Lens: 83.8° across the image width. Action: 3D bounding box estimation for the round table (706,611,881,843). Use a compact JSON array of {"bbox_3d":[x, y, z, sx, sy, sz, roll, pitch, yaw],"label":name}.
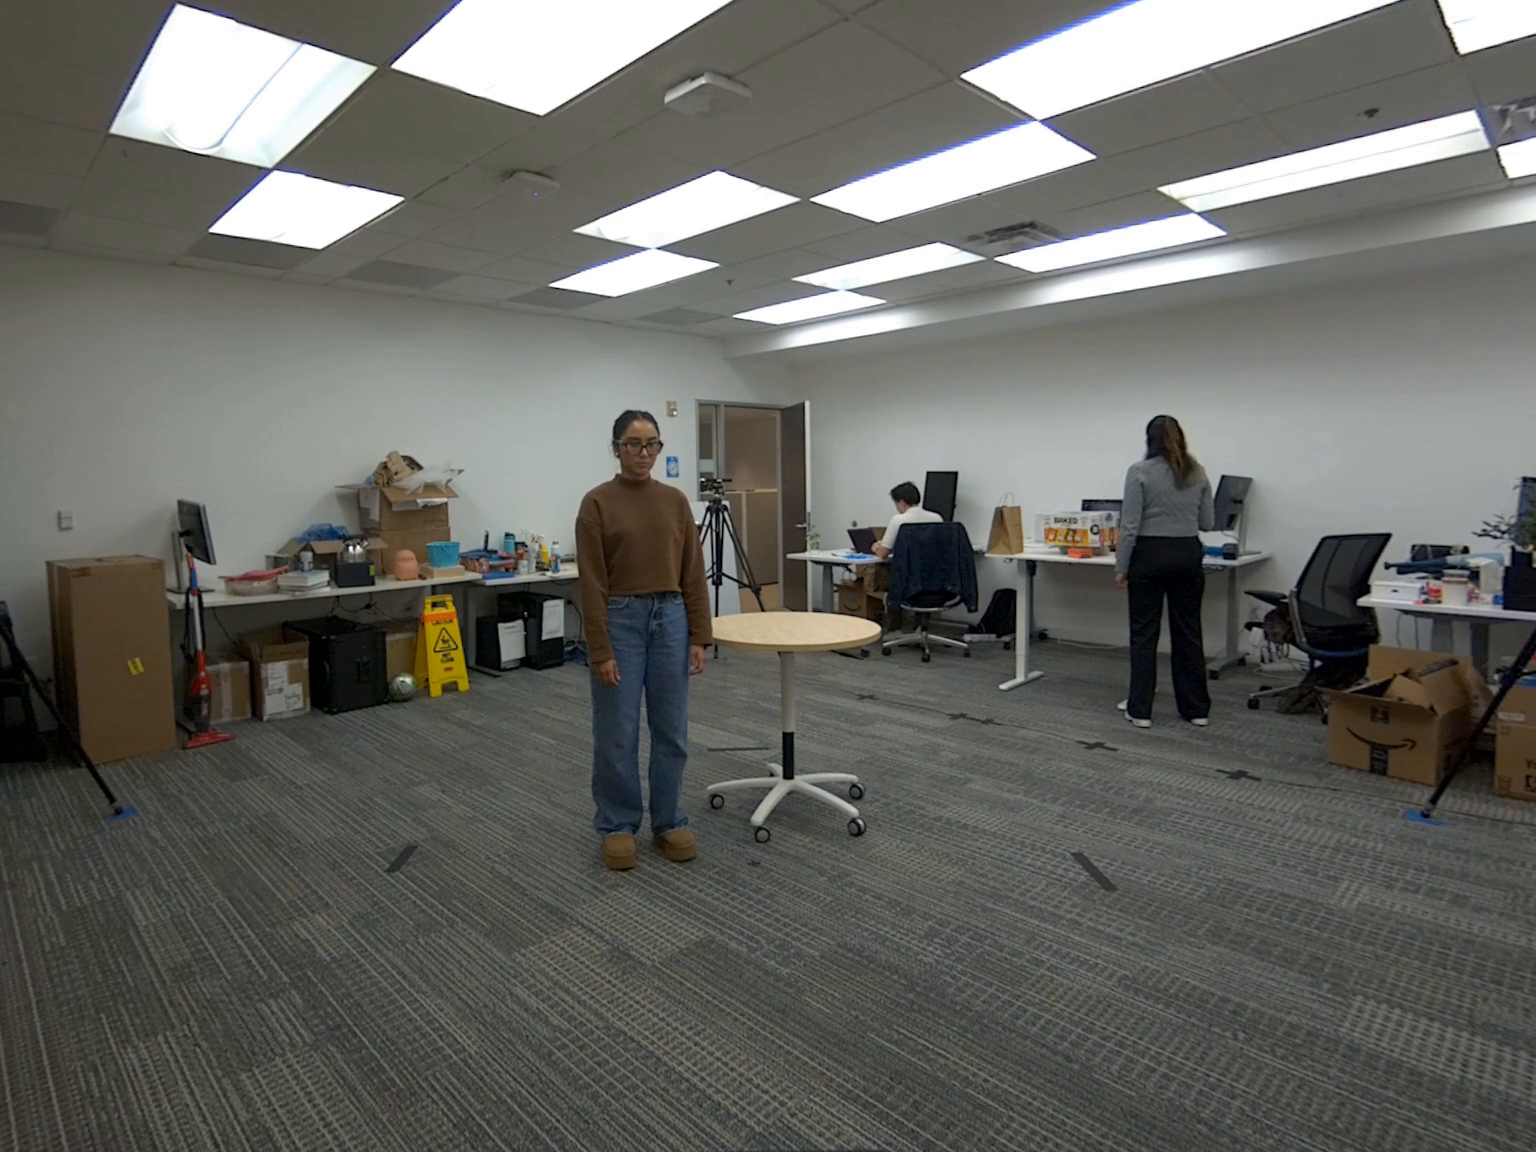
[{"bbox_3d":[0.085,0.601,3.571,0.763,0.791,0.768,-1,5,-2],"label":"round table"}]
